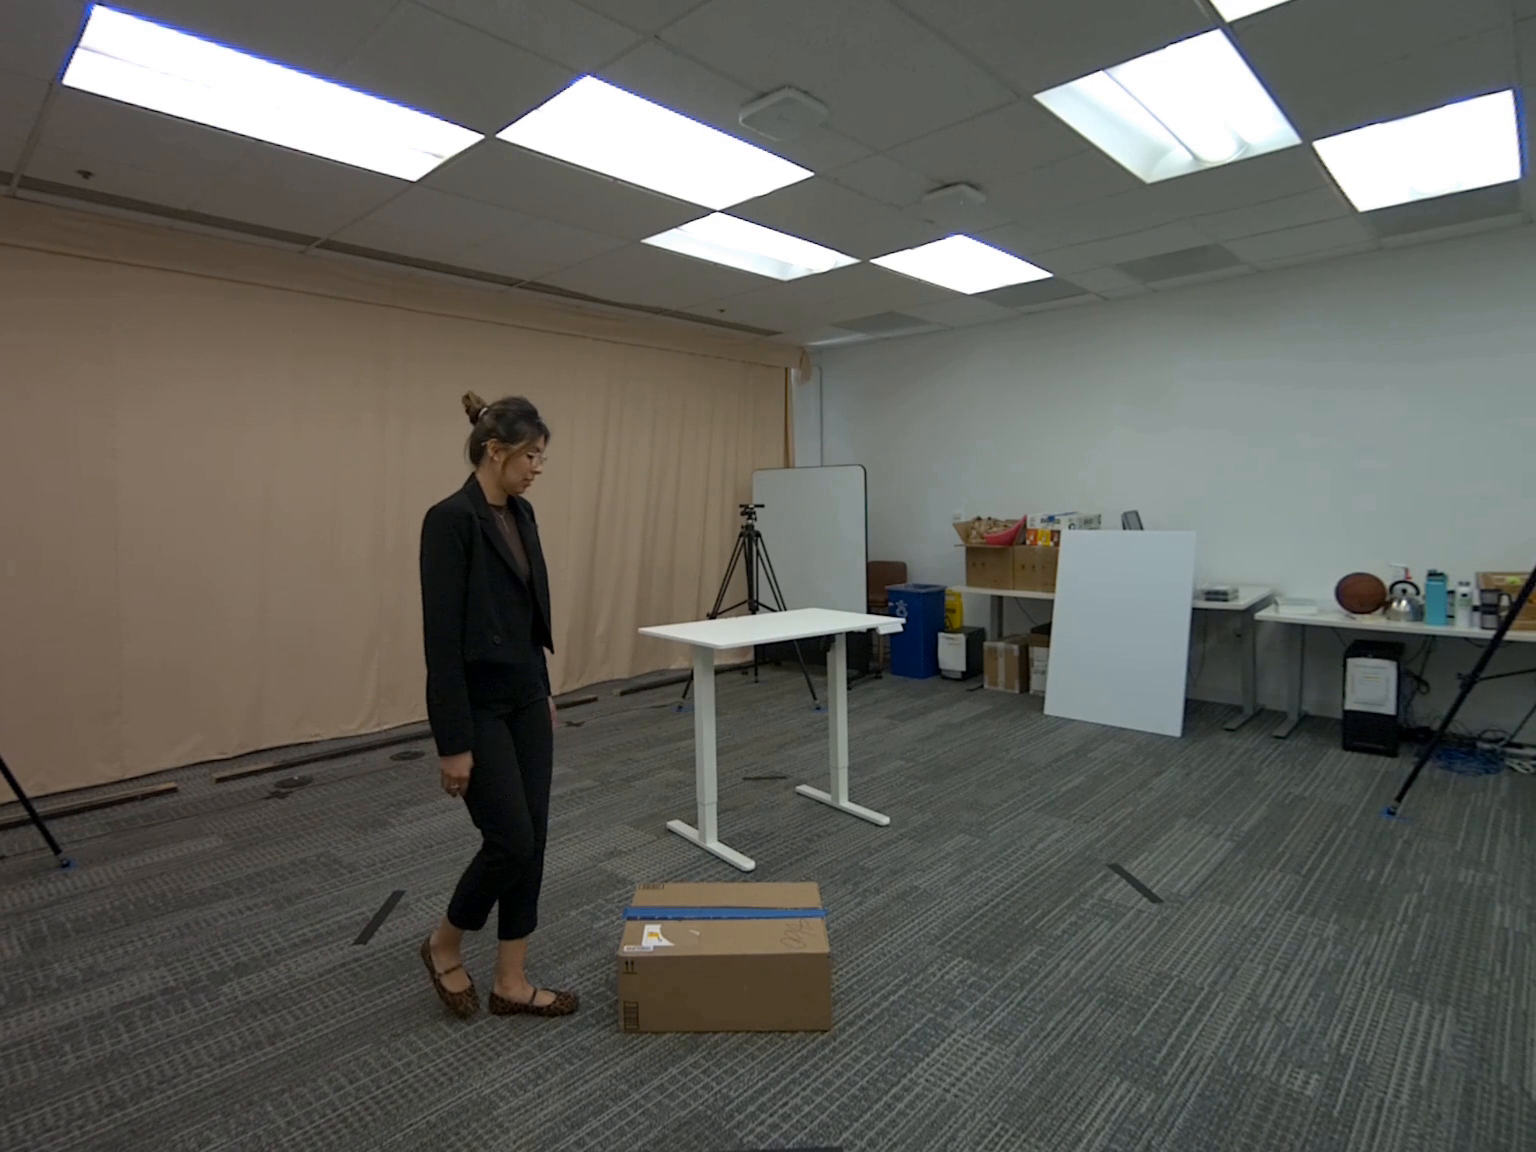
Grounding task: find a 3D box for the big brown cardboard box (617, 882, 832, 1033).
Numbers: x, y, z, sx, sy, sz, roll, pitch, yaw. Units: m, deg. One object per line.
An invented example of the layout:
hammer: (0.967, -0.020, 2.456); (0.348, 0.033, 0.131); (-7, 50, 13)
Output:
big brown cardboard box: (-0.117, 1.080, 2.420); (0.589, 0.232, 0.419); (-1, 5, -1)
